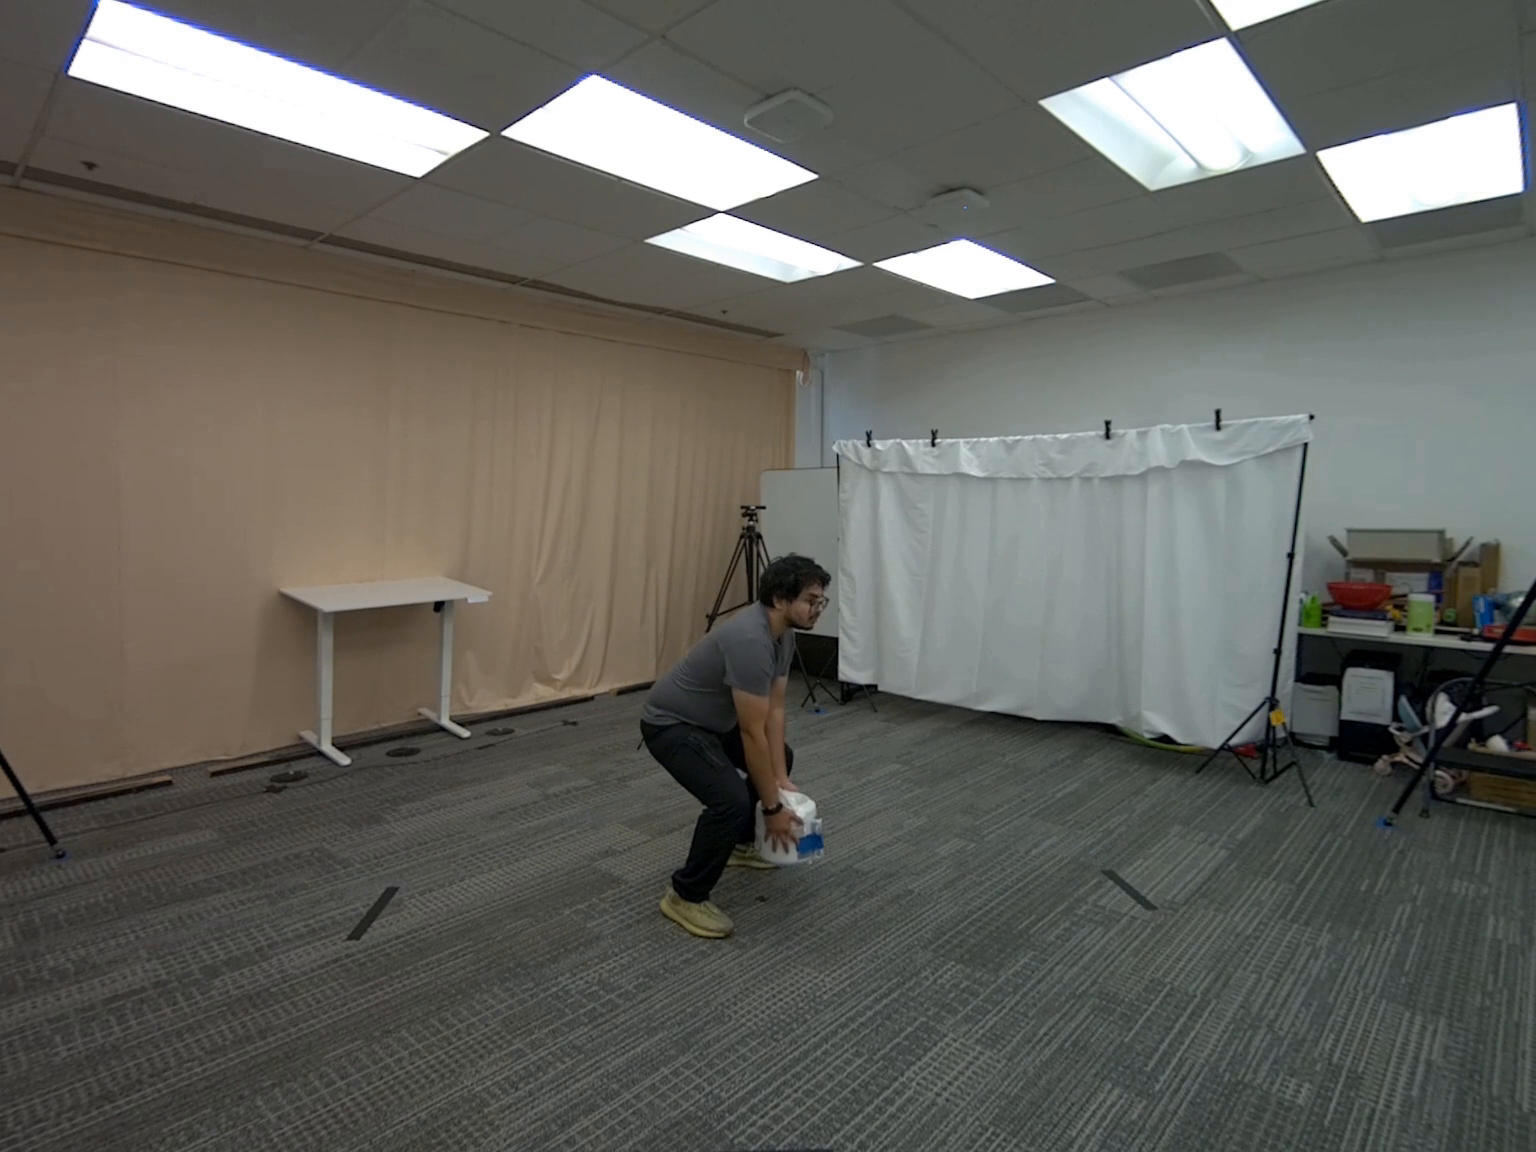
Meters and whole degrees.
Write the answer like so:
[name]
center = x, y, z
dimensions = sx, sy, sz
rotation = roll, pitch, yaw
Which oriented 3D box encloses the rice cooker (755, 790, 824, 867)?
[rice cooker]
center = 0.067, 0.868, 2.929
dimensions = 0.214, 0.232, 0.224
rotation = -3, 3, -15
